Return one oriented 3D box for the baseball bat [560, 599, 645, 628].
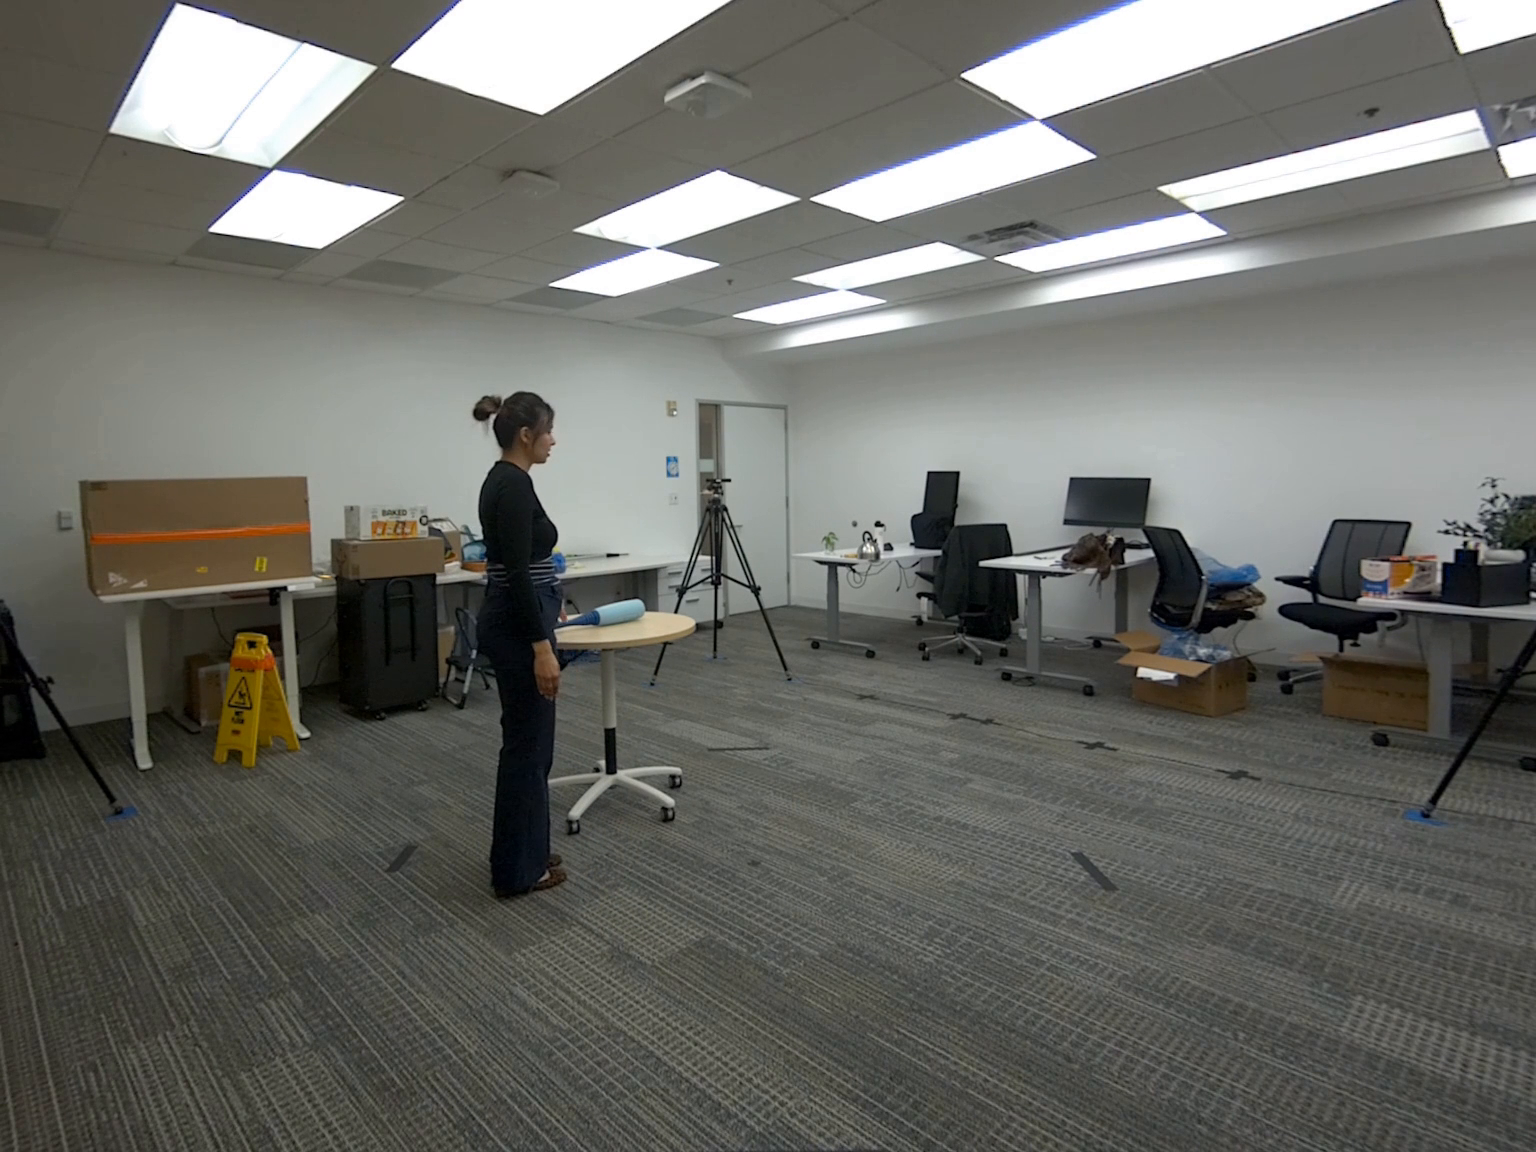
[{"bbox_3d":[-0.751,0.184,3.607,0.092,0.088,0.530,4,11,43],"label":"baseball bat"}]
